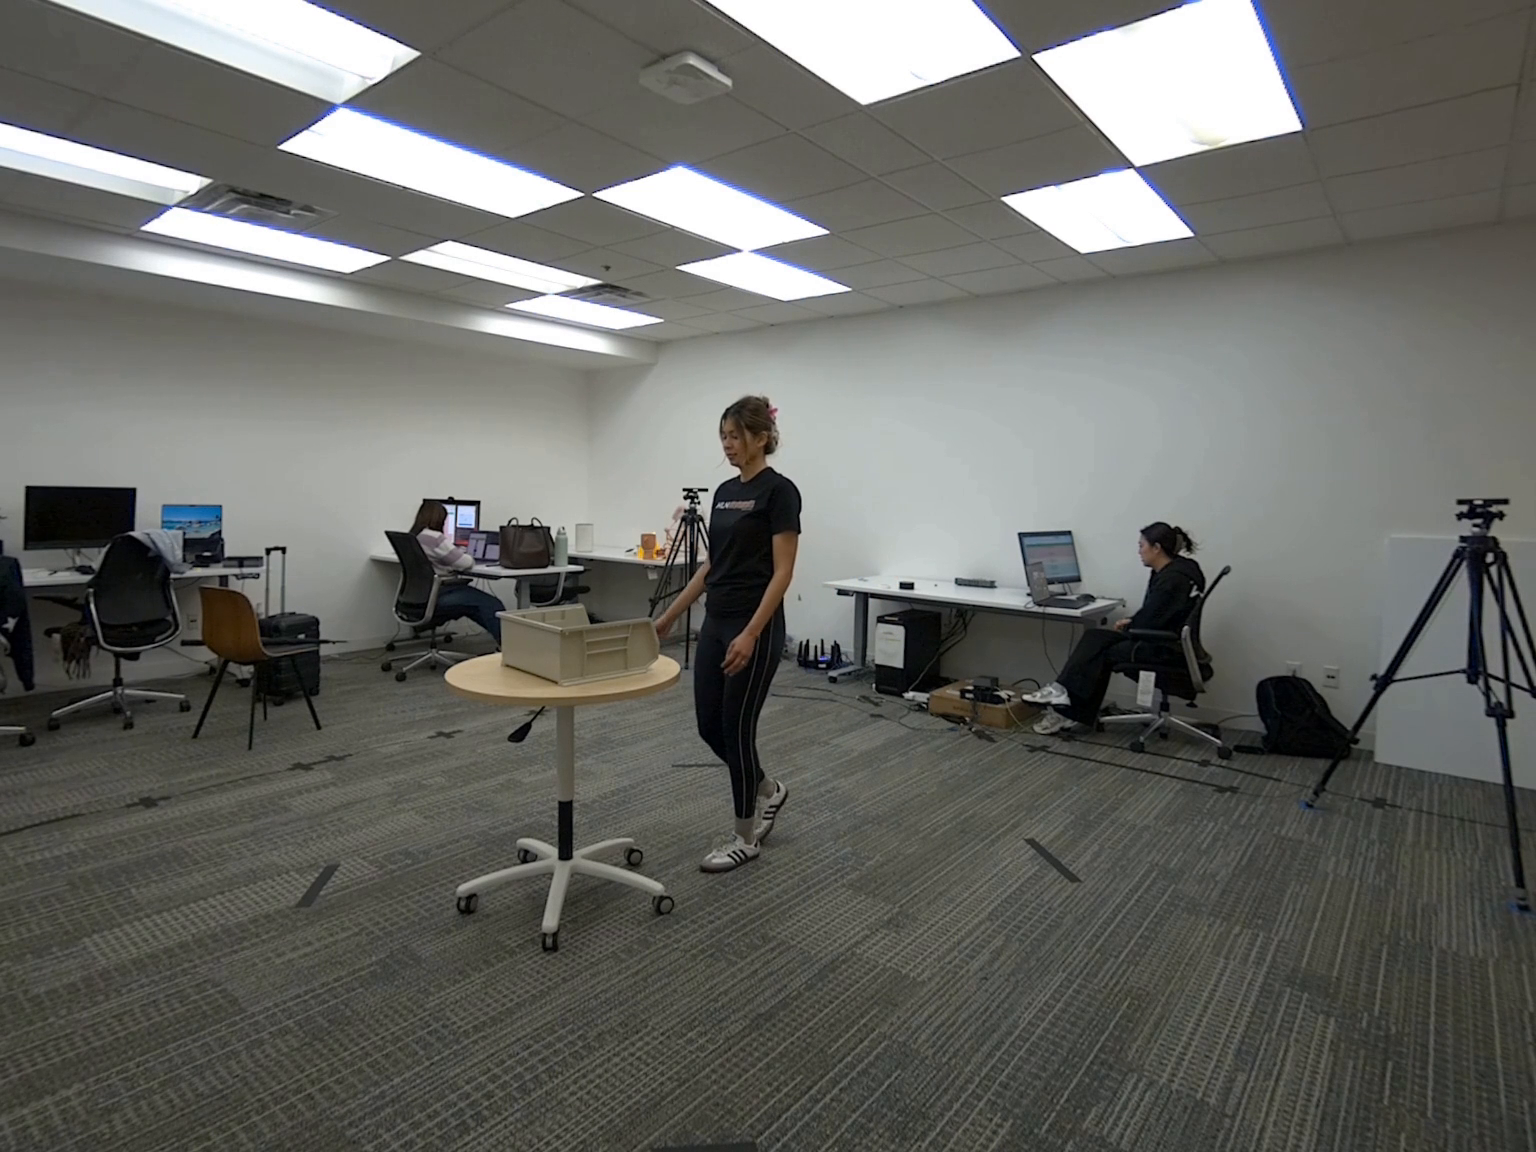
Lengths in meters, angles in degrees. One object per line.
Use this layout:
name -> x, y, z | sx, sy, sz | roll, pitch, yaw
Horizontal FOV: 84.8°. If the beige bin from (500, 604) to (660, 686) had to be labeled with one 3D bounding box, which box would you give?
beige bin -> -0.651, 0.219, 2.829 | 0.366, 0.188, 0.437 | -6, 10, -43
